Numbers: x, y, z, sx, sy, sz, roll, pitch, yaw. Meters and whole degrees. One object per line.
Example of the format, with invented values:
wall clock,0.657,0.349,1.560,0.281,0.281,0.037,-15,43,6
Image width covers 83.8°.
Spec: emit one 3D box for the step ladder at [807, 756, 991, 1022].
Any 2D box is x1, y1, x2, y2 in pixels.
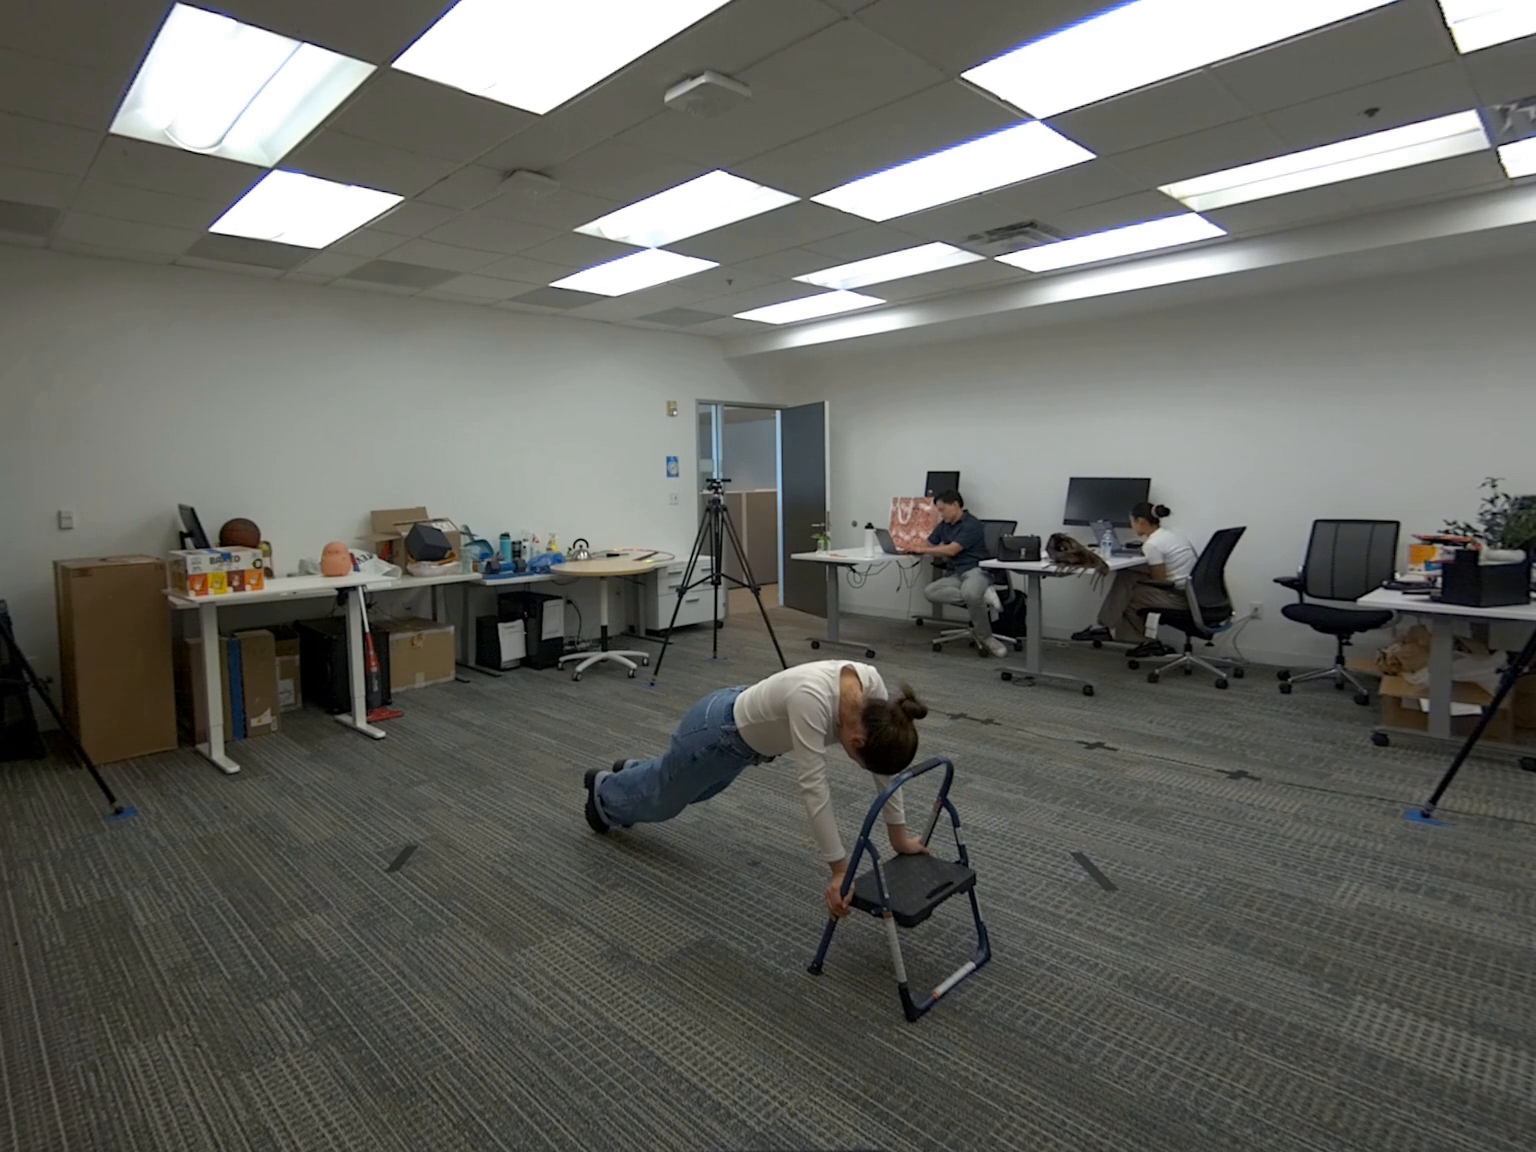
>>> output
step ladder,0.384,0.817,2.425,0.360,0.604,0.419,3,6,43
